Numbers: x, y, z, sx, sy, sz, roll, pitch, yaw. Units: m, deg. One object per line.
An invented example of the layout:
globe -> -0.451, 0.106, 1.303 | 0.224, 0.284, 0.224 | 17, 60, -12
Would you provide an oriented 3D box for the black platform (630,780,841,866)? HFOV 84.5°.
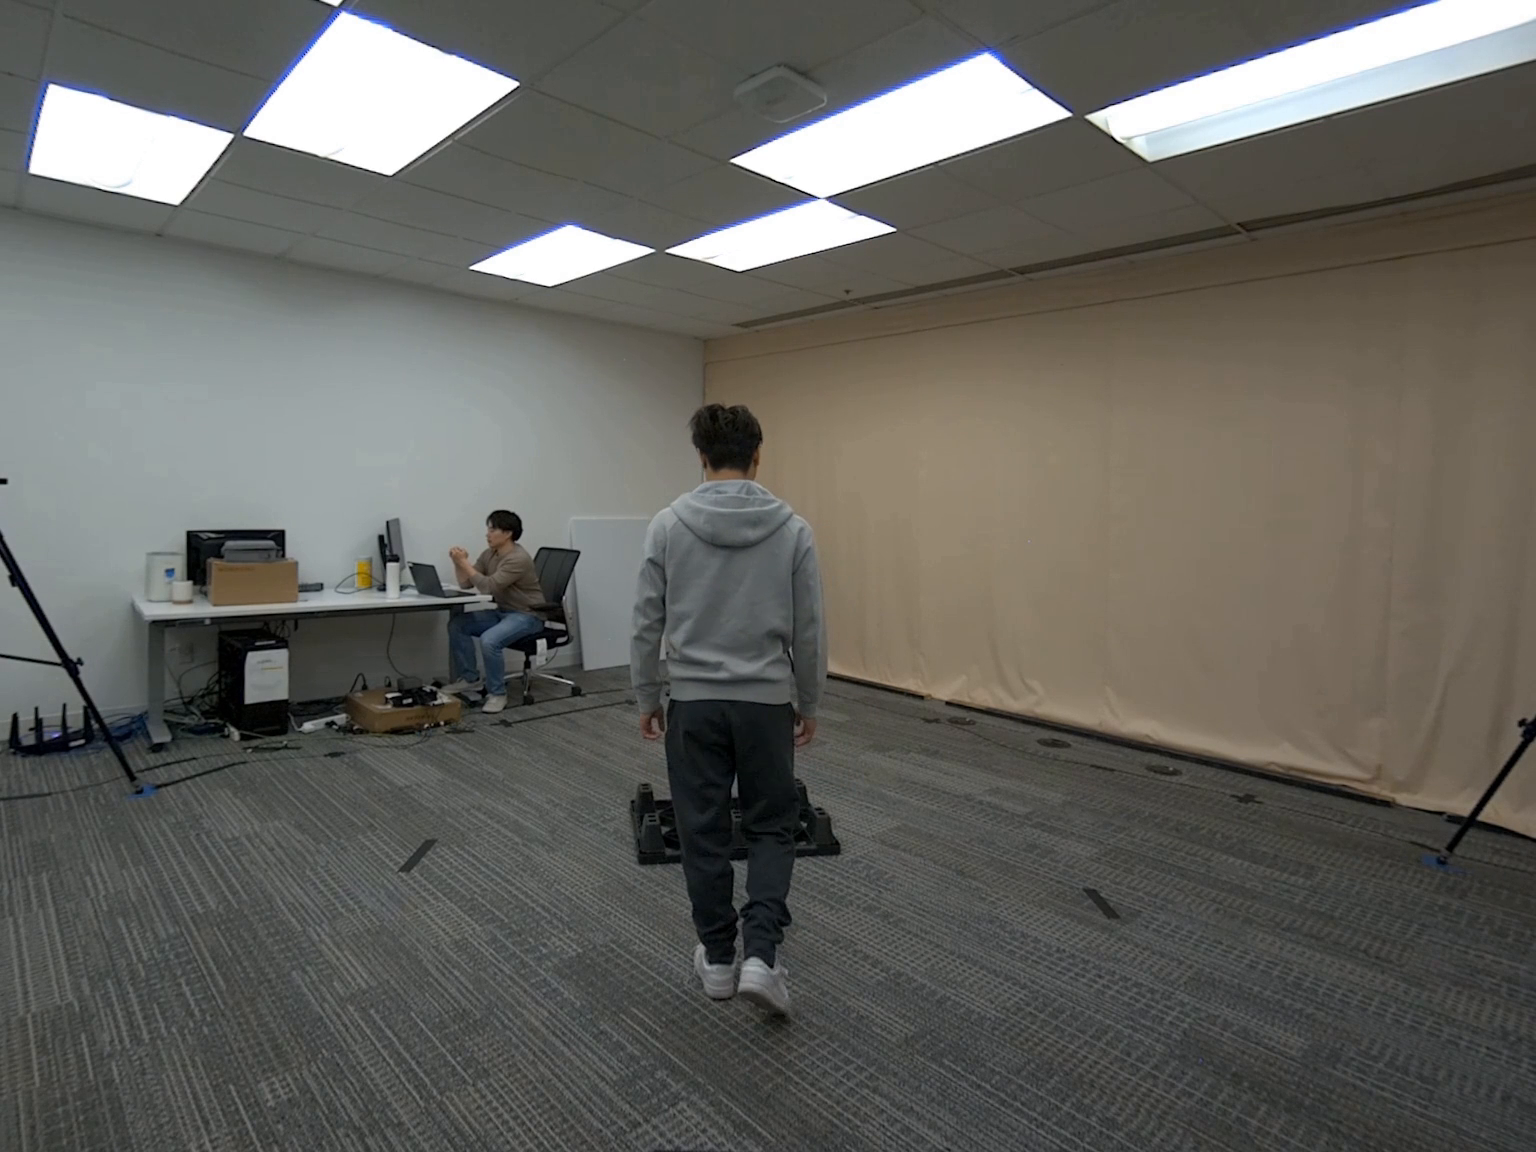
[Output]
black platform -> -0.171, 1.003, 3.529 | 0.798, 0.143, 0.612 | 0, 4, -12
